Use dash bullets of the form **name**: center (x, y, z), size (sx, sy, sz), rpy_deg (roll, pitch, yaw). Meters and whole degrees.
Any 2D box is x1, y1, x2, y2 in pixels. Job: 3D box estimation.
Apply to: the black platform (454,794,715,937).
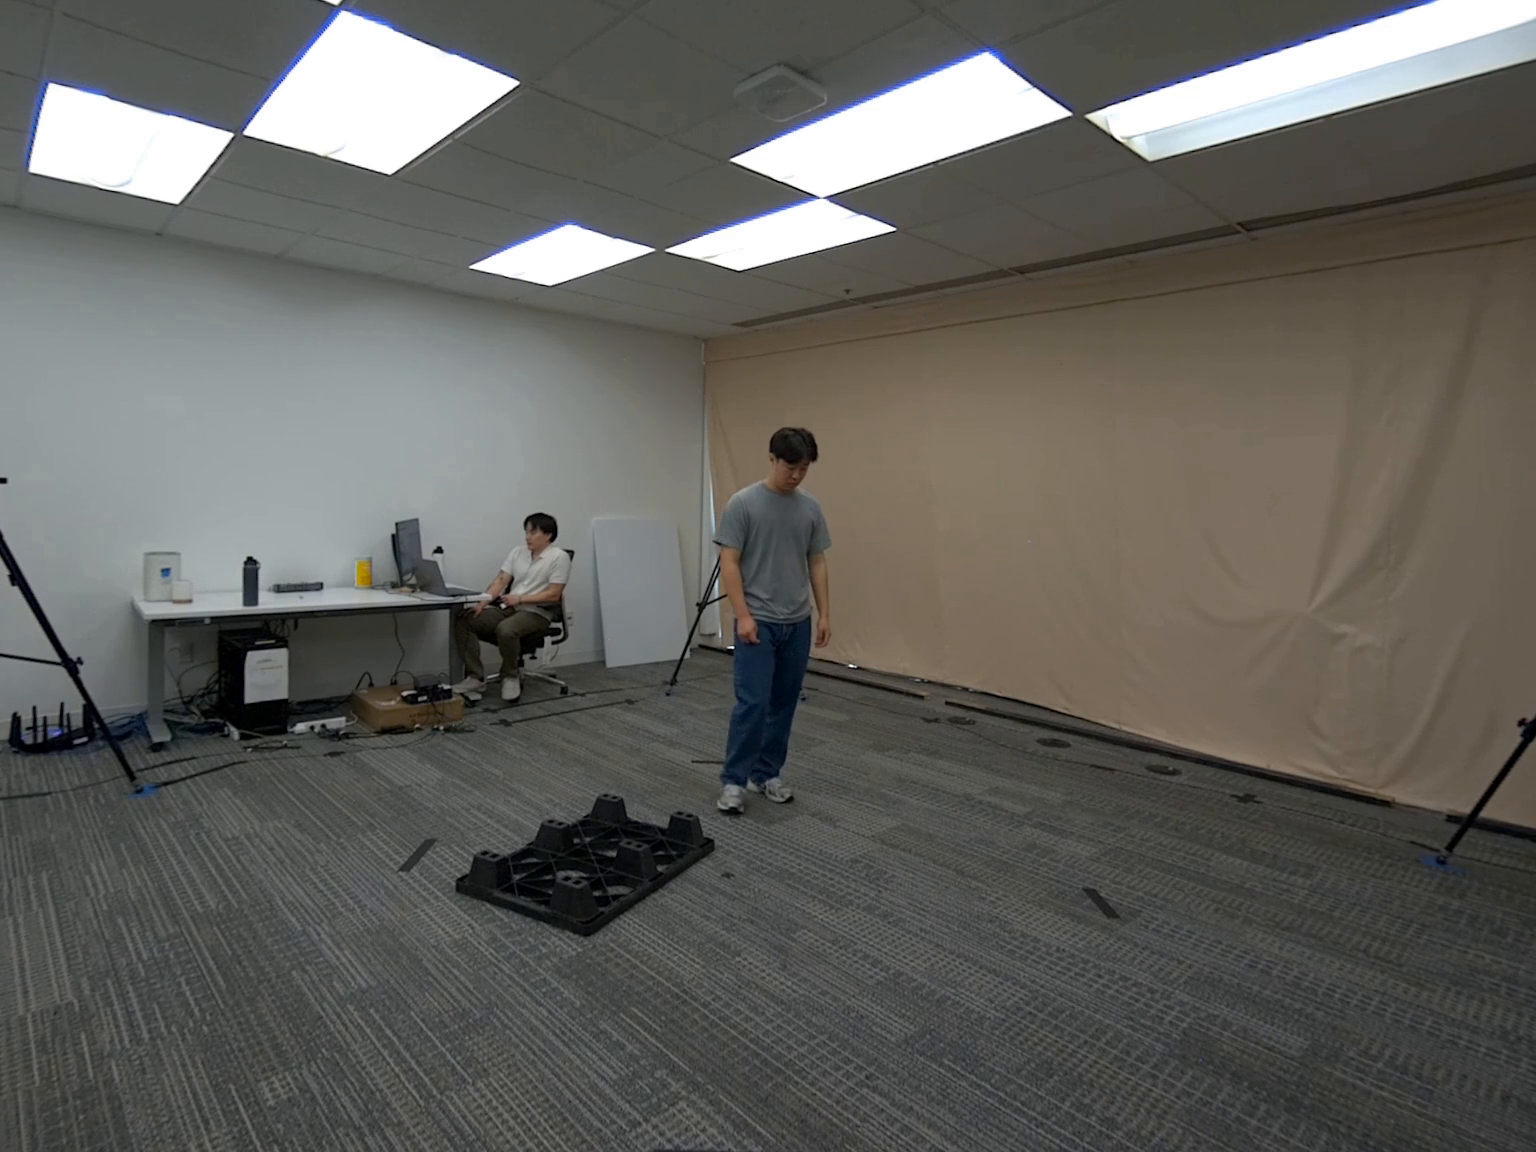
- **black platform**: center (-0.658, 1.024, 3.134), size (0.618, 0.143, 0.791), rpy_deg (4, 6, 27)
